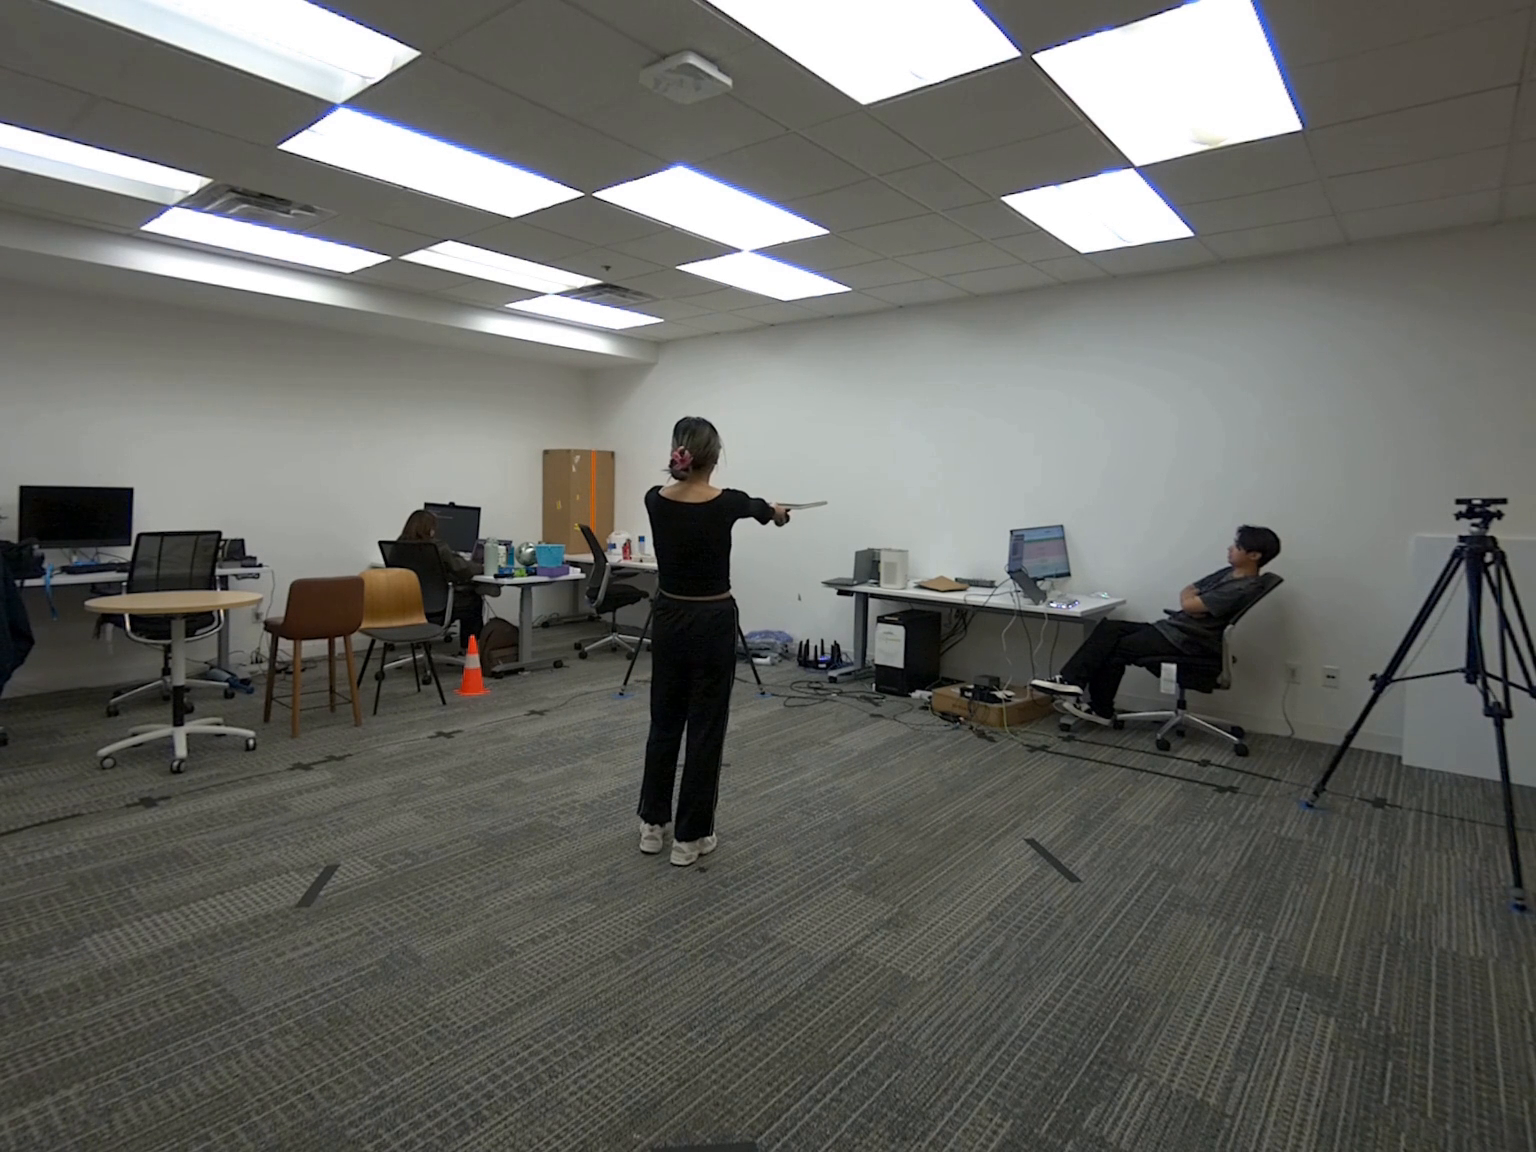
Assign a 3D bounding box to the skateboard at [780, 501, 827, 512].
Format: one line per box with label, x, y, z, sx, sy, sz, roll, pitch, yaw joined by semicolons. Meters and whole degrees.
skateboard;-0.127;-0.284;3.739;0.803;0.110;0.190;4;6;20
